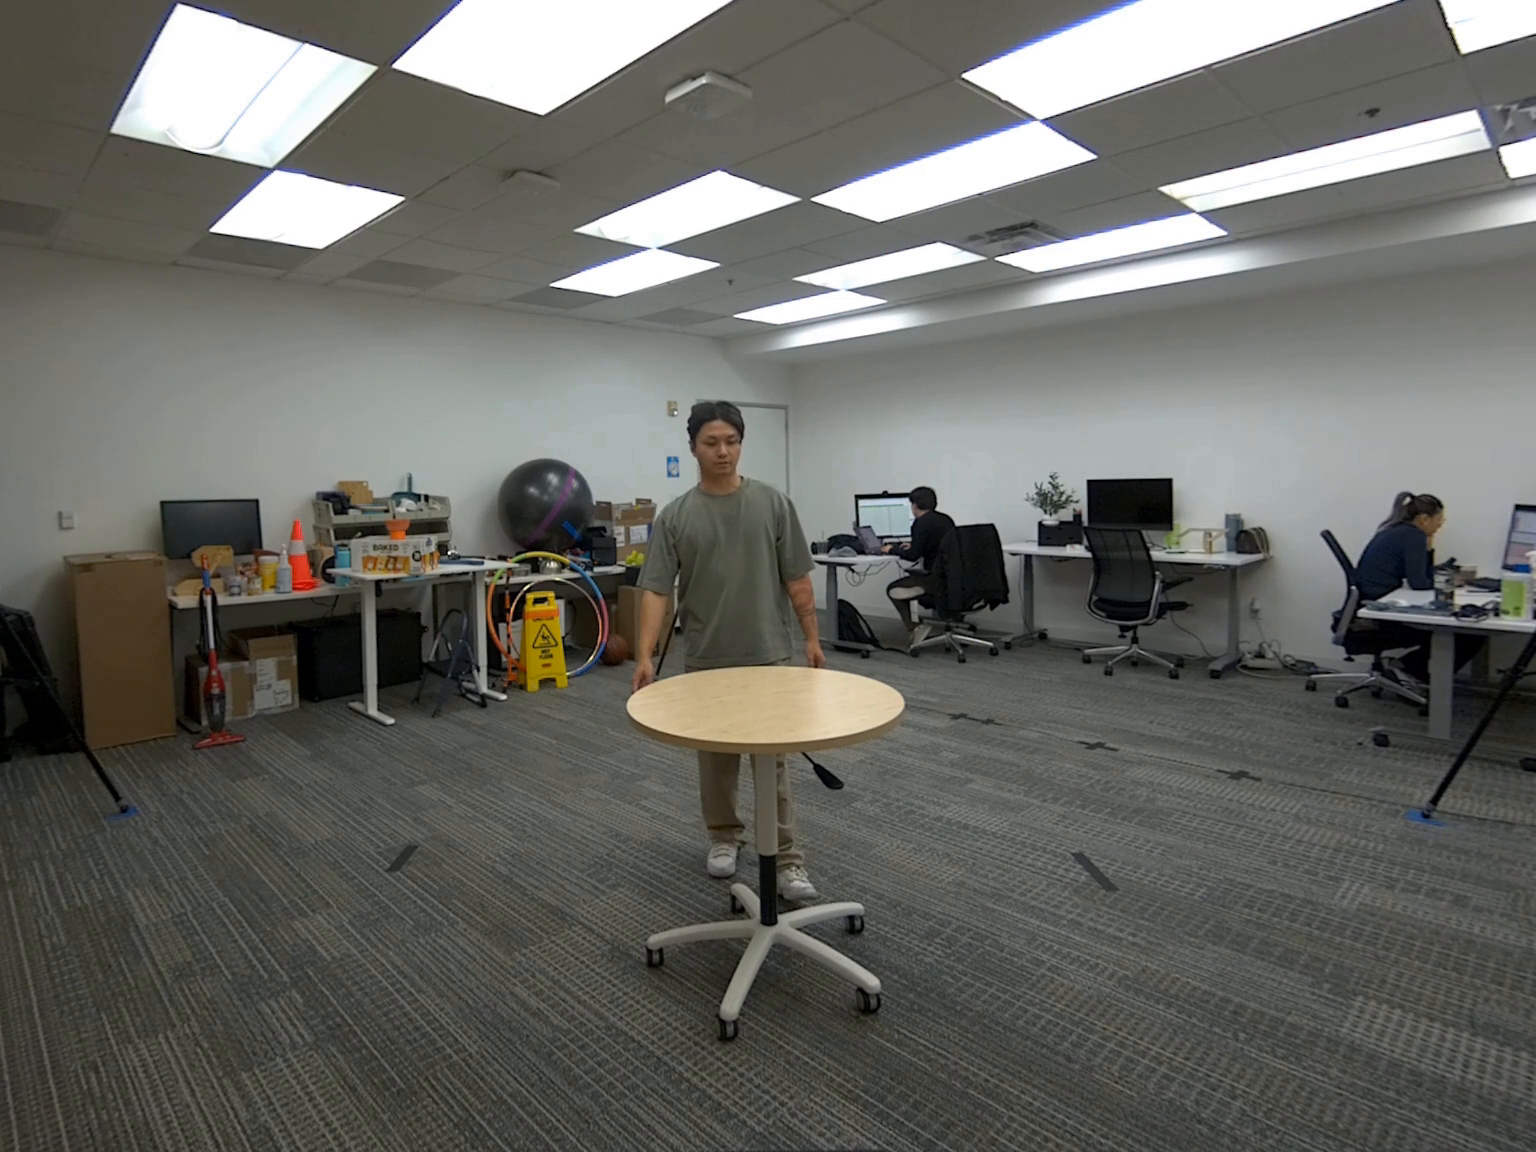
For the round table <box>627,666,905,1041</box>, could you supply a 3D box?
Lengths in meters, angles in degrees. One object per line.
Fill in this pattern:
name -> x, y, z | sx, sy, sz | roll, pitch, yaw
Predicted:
round table -> -0.014, 0.734, 2.412 | 0.784, 0.783, 0.790 | -1, 6, -2
